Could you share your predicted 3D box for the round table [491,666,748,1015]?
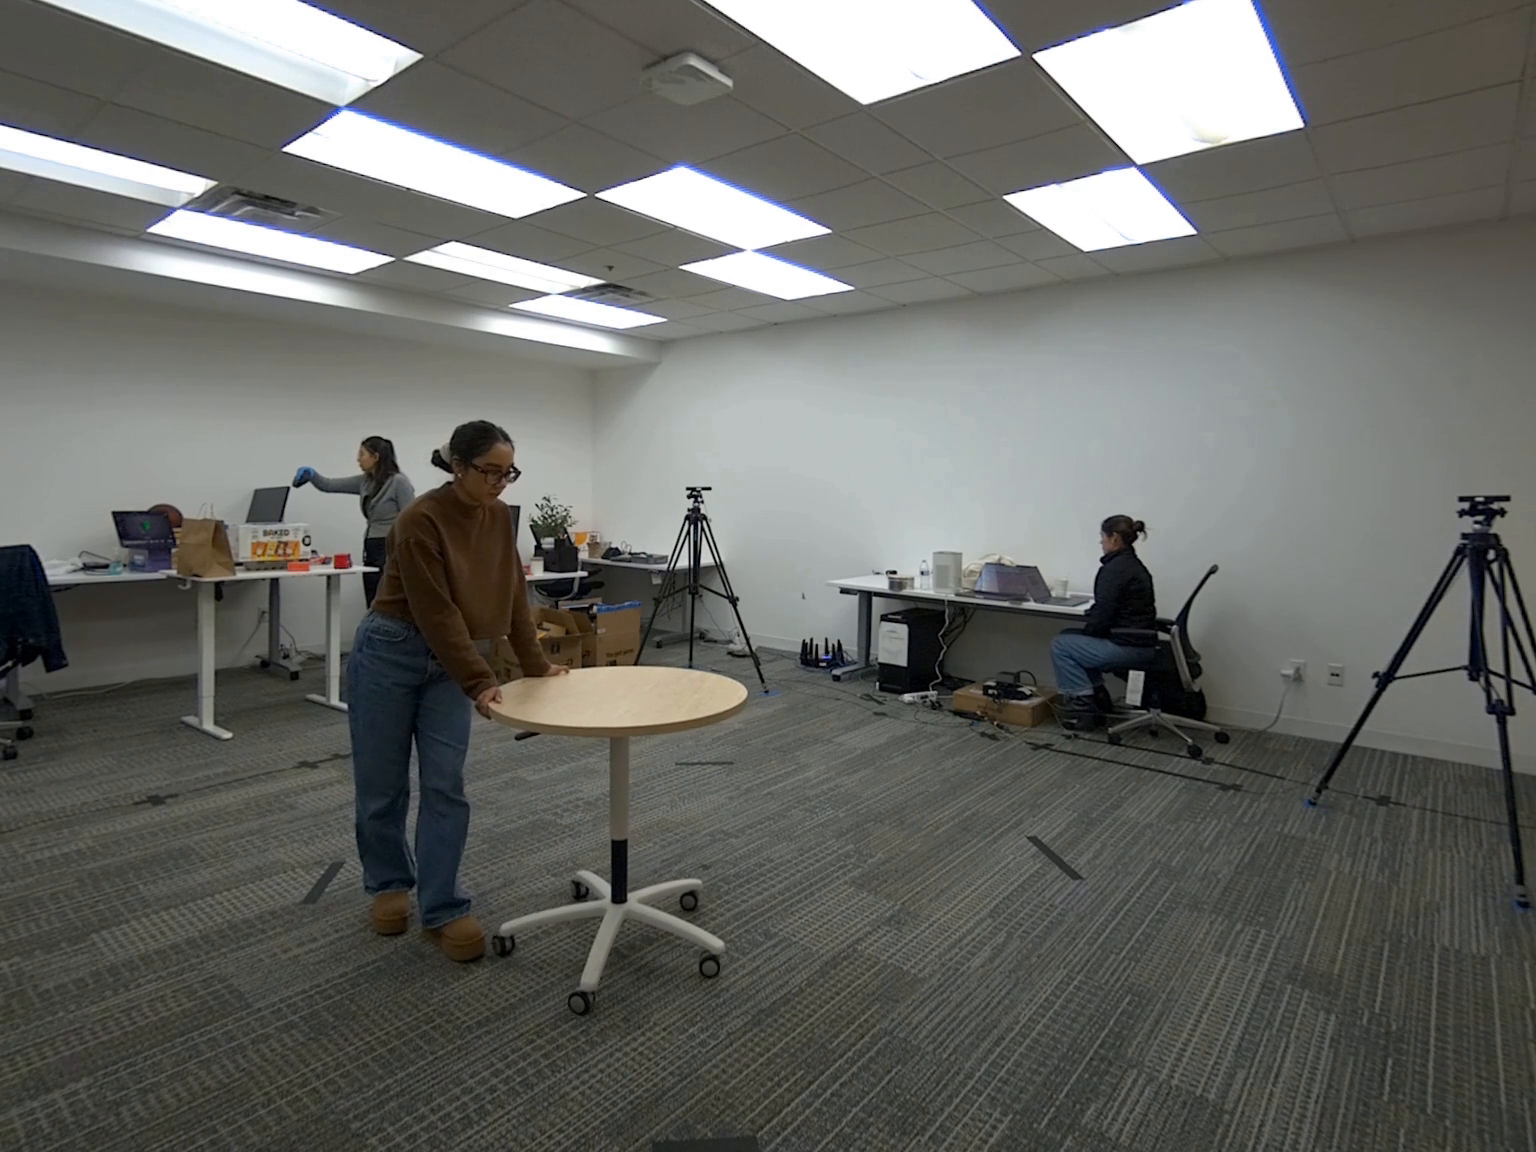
[{"bbox_3d":[-0.462,0.737,2.551,0.763,0.791,0.768,0,4,-2],"label":"round table"}]
